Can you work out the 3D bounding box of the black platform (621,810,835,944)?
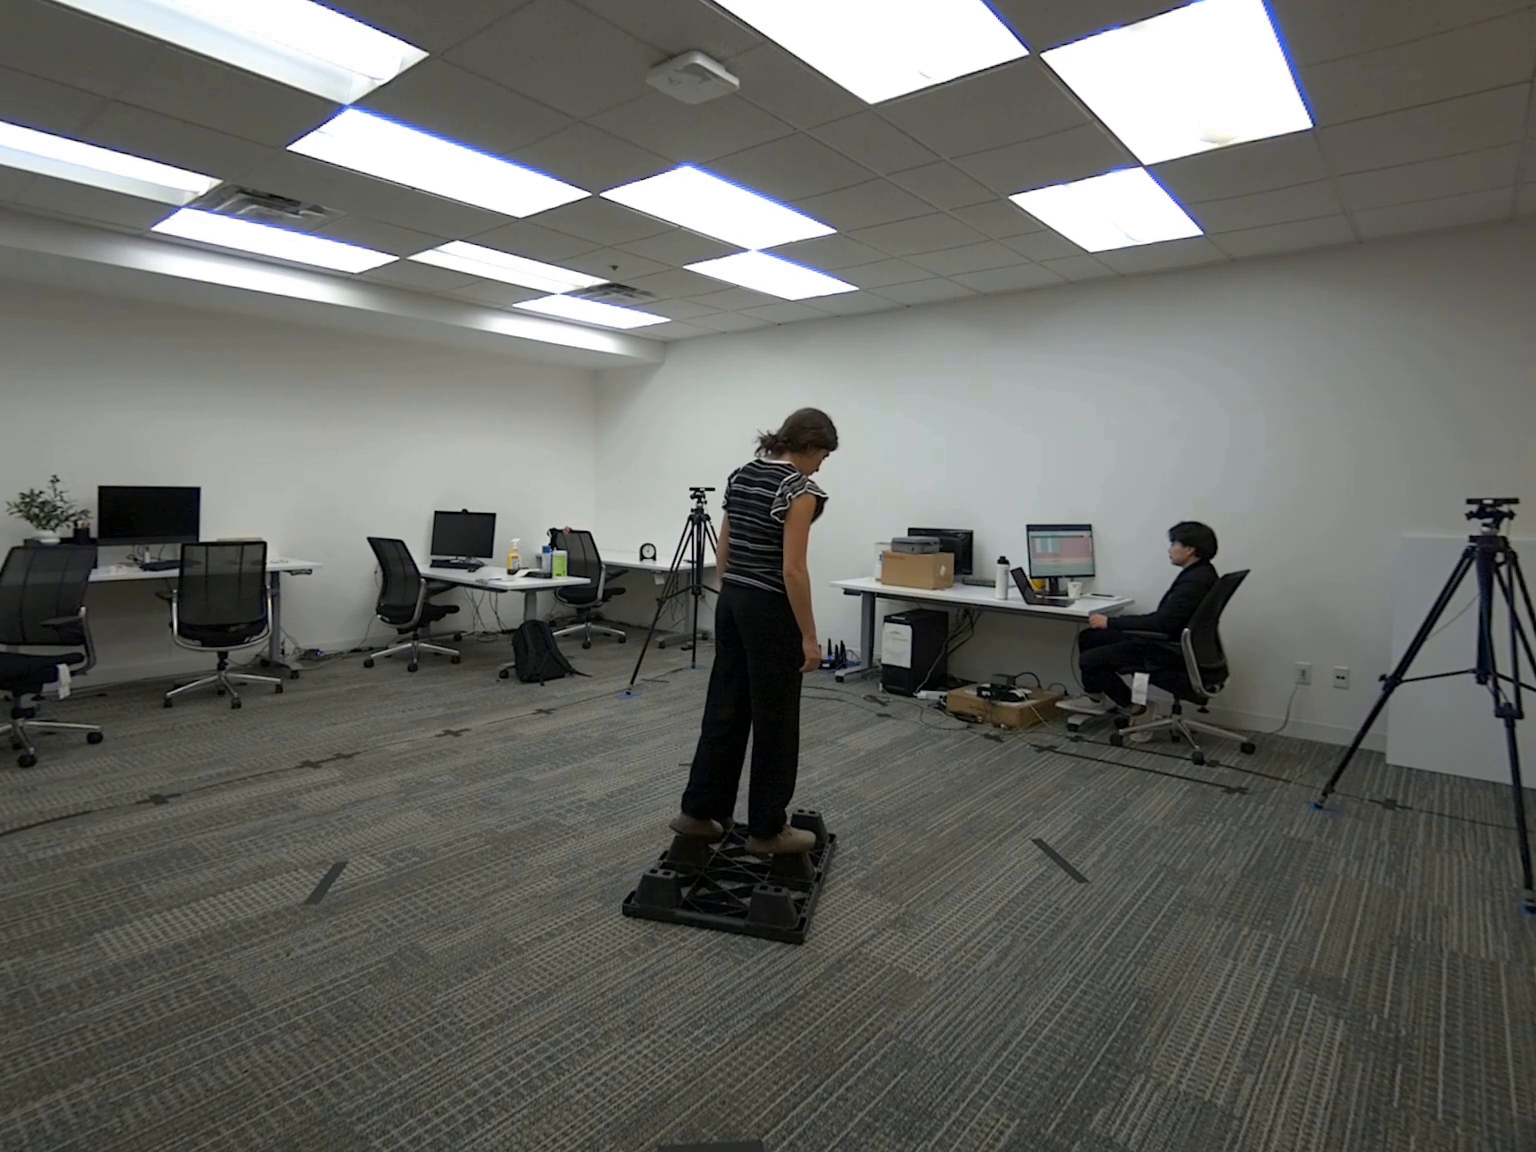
[{"bbox_3d":[-0.114,1.009,3.054,0.615,0.143,0.796,3,6,13],"label":"black platform"}]
